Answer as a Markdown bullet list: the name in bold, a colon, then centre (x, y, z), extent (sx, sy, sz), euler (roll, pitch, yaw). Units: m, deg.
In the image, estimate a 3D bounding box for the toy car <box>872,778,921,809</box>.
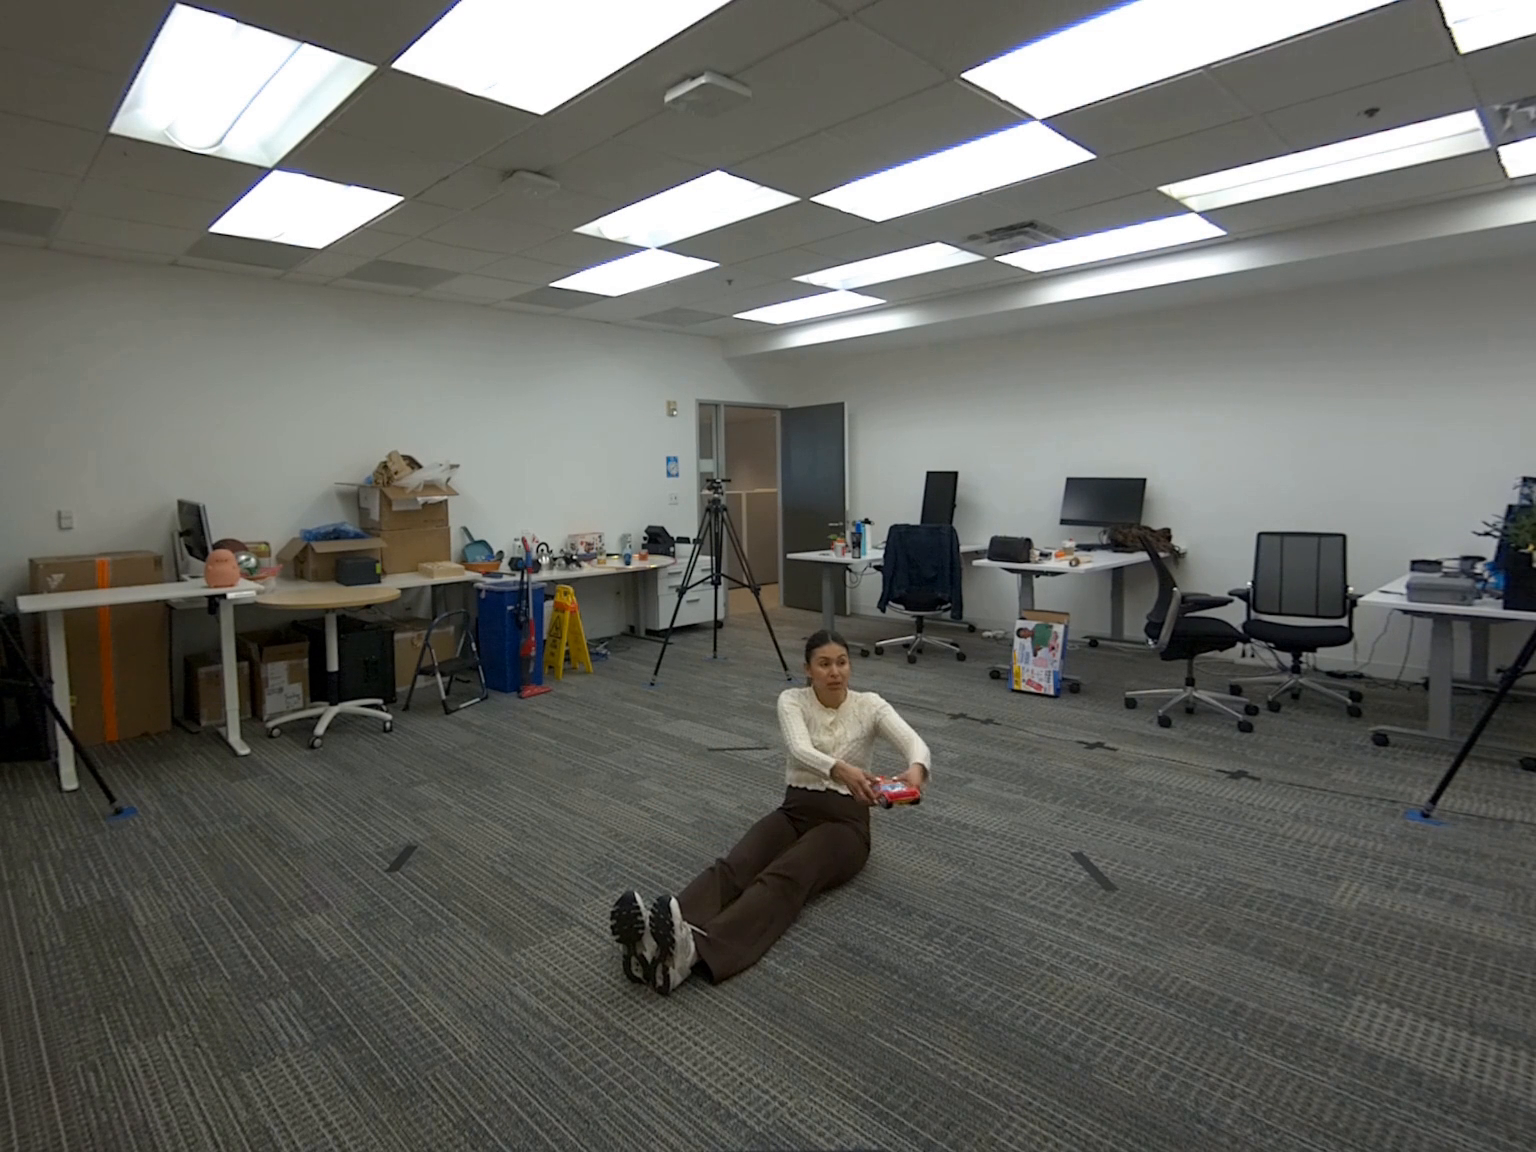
- **toy car**: centre (0.357, 0.671, 2.619), extent (0.128, 0.083, 0.258), euler (-5, 1, -16)
